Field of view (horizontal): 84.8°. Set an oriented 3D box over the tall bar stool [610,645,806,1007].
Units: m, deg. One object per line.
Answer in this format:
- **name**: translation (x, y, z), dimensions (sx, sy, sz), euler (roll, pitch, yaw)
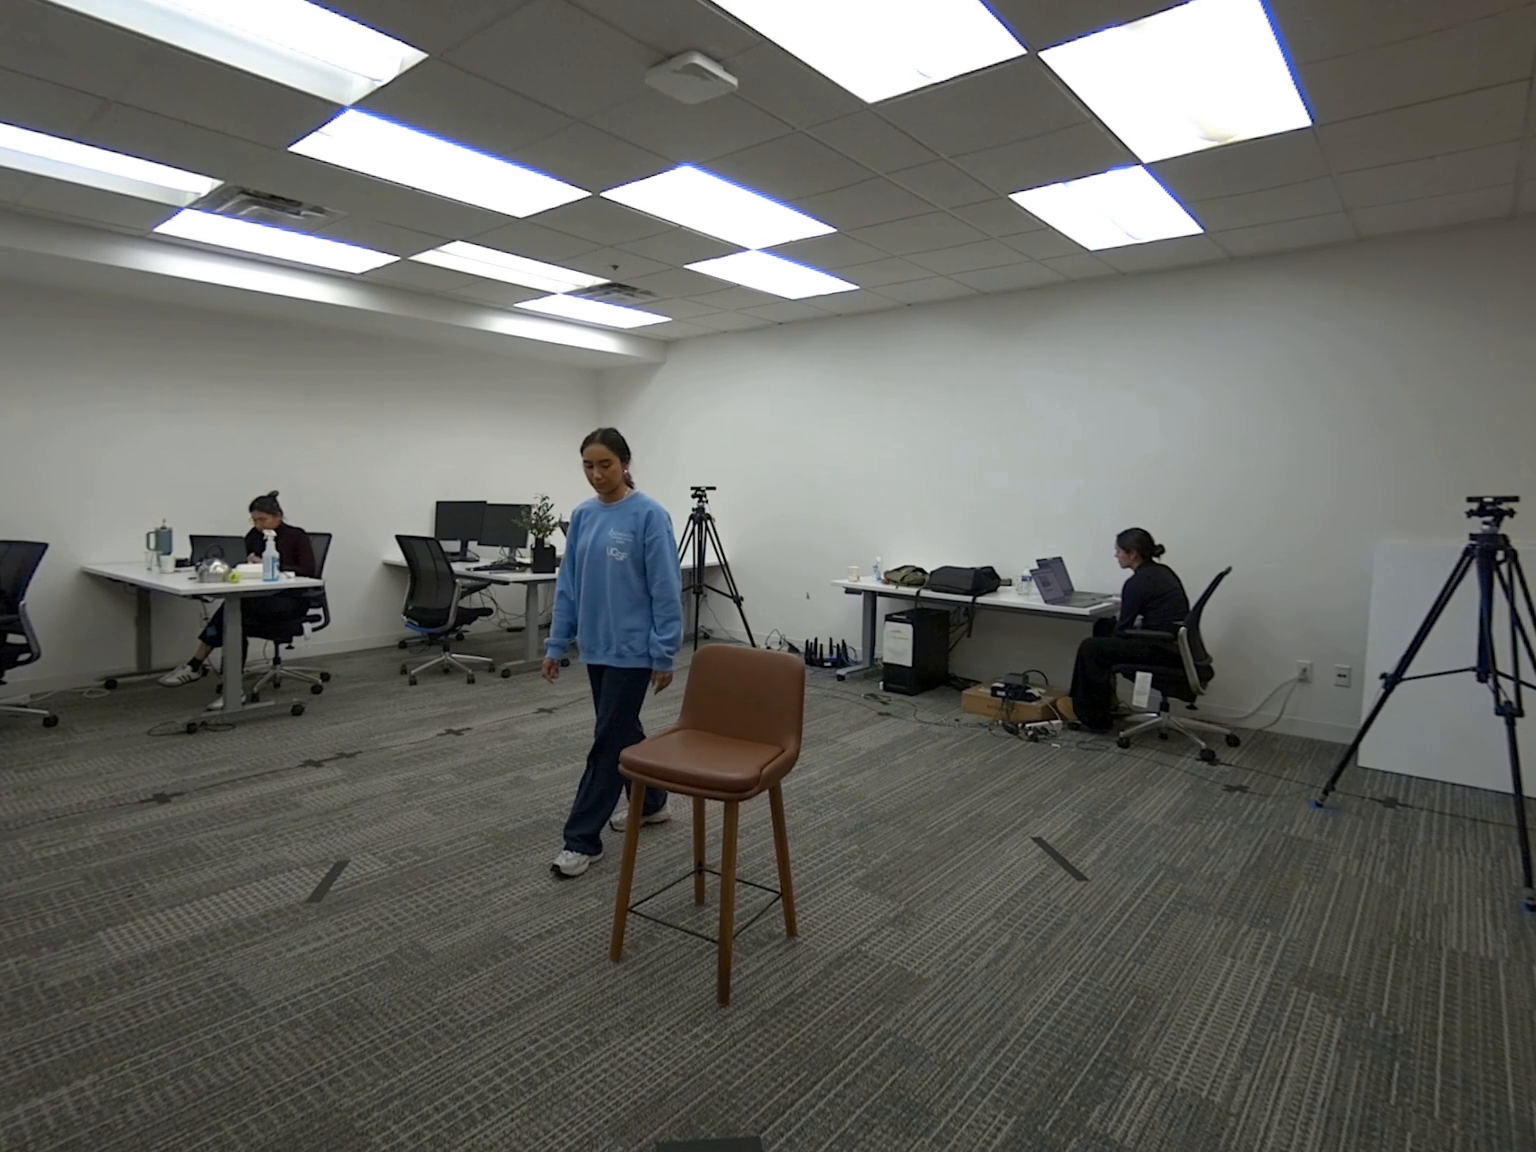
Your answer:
- **tall bar stool**: translation (-0.175, 0.686, 2.547), dimensions (0.470, 0.888, 0.454), euler (3, 2, 31)
